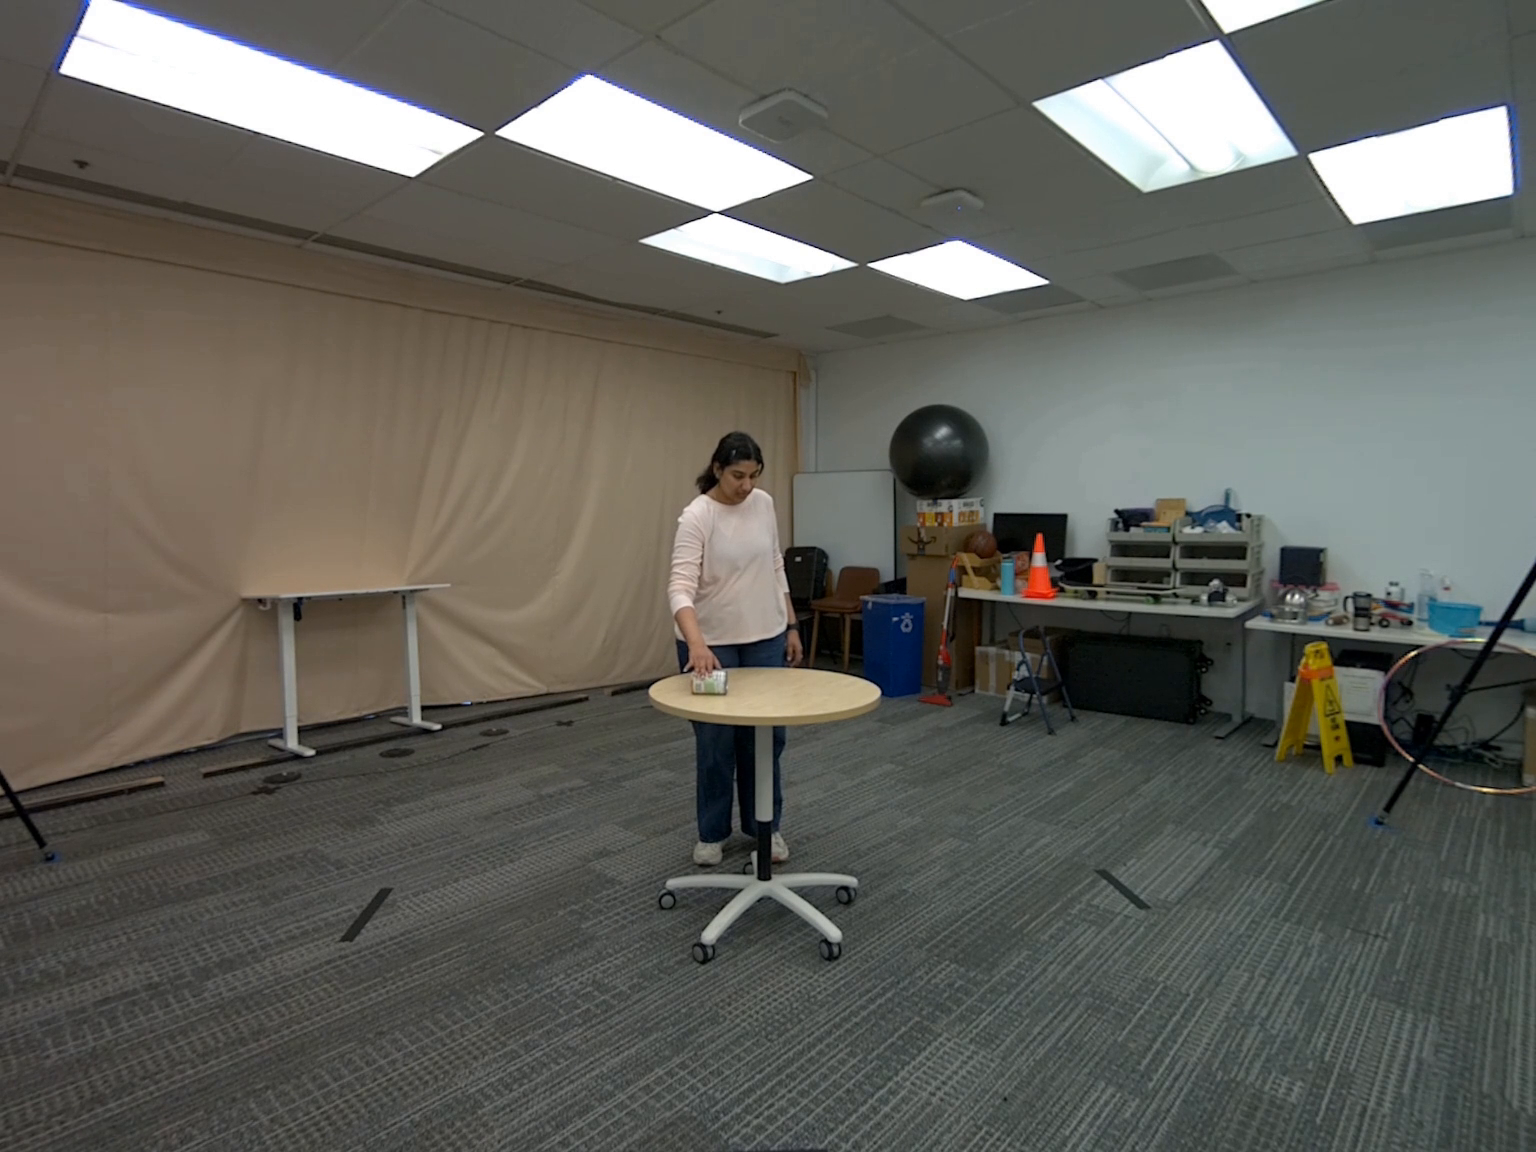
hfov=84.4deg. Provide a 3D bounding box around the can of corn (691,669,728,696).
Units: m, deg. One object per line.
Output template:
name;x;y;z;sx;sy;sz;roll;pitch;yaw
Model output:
can of corn;-0.189;0.345;2.732;0.111;0.074;0.074;1;4;2
